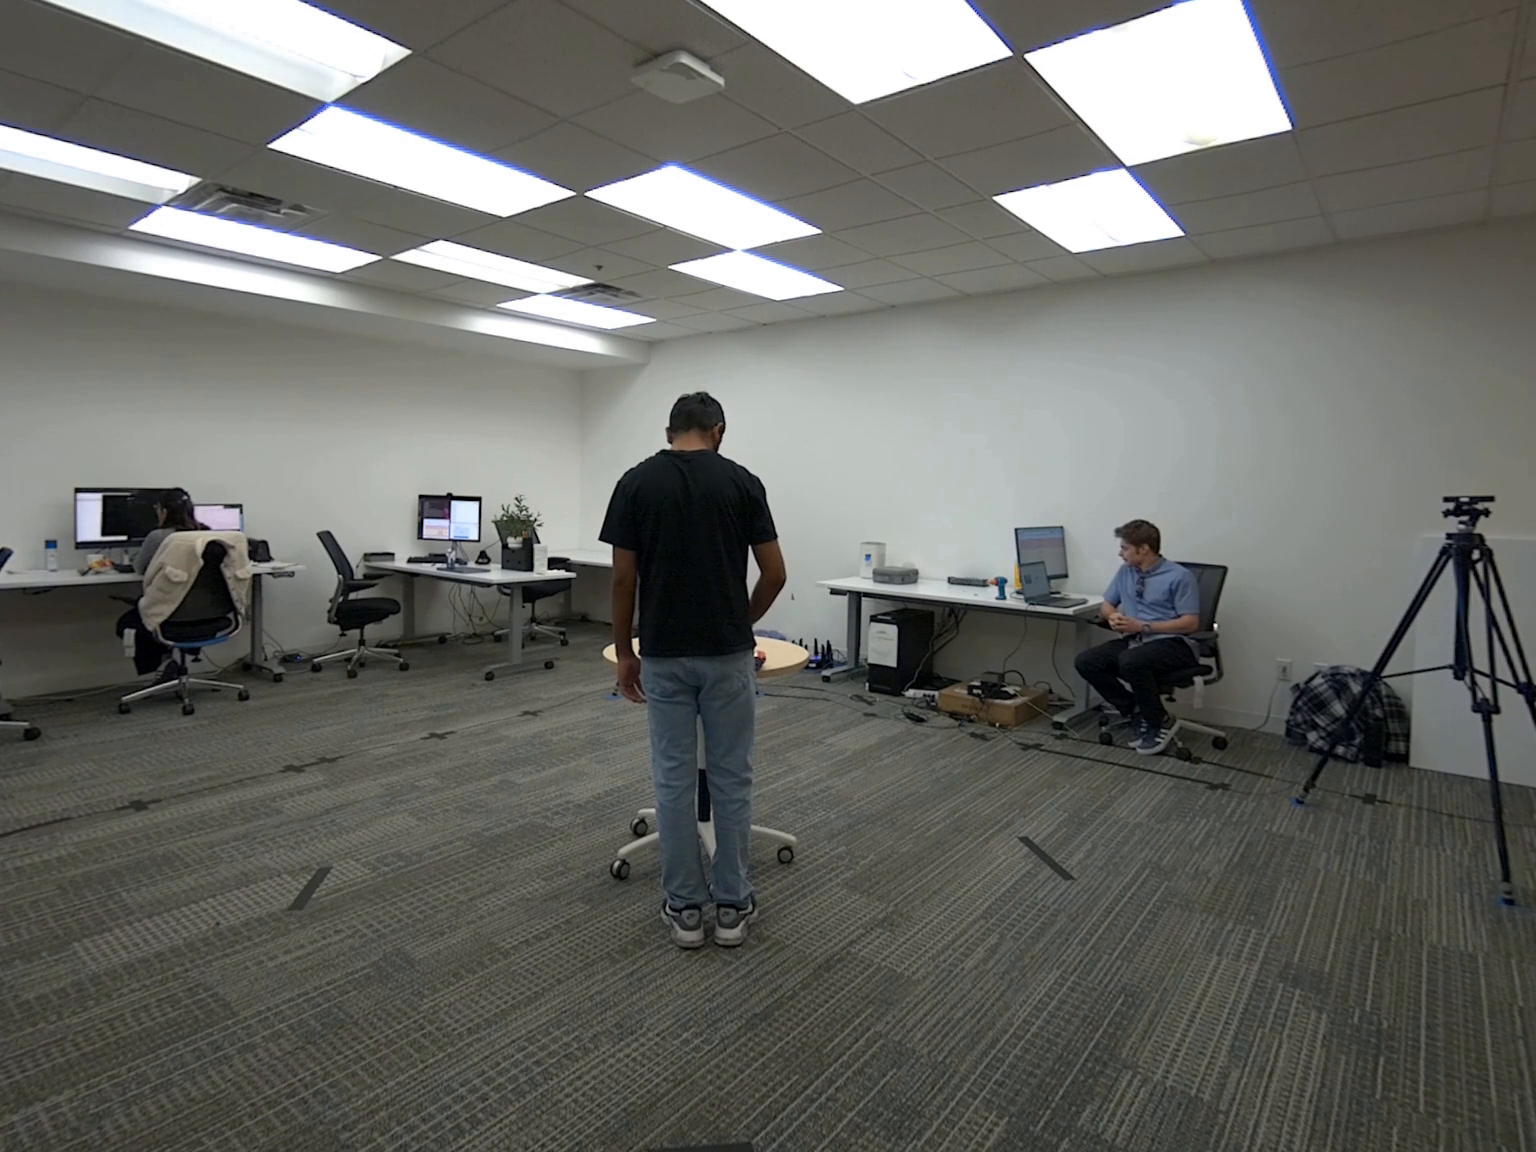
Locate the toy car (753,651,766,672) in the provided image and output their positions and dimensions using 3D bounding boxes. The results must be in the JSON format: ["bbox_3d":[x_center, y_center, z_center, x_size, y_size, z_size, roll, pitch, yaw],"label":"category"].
[{"bbox_3d":[-0.144,0.275,2.896,0.255,0.083,0.130,11,5,1],"label":"toy car"}]
